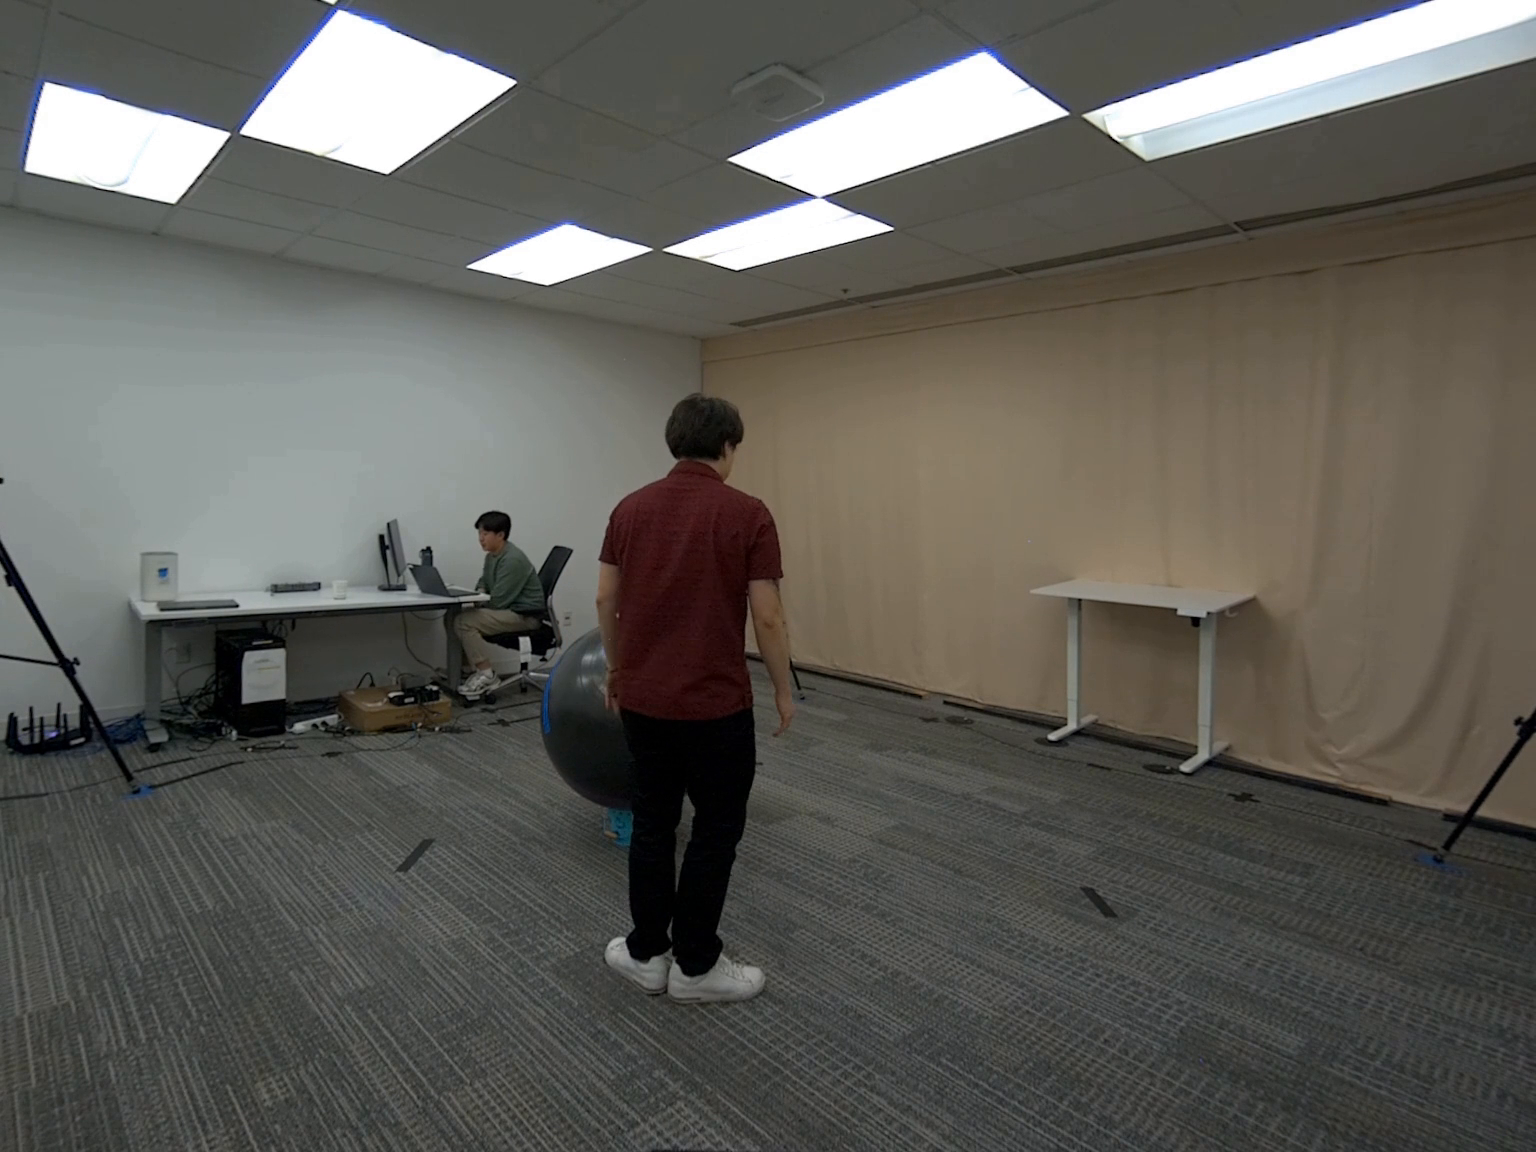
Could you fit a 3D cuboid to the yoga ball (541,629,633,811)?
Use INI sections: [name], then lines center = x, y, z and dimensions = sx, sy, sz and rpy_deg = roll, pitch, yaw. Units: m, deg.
[yoga ball]
center = -0.545, 0.561, 3.419
dimensions = 0.757, 0.756, 0.761
rpy_deg = 1, 4, -1
